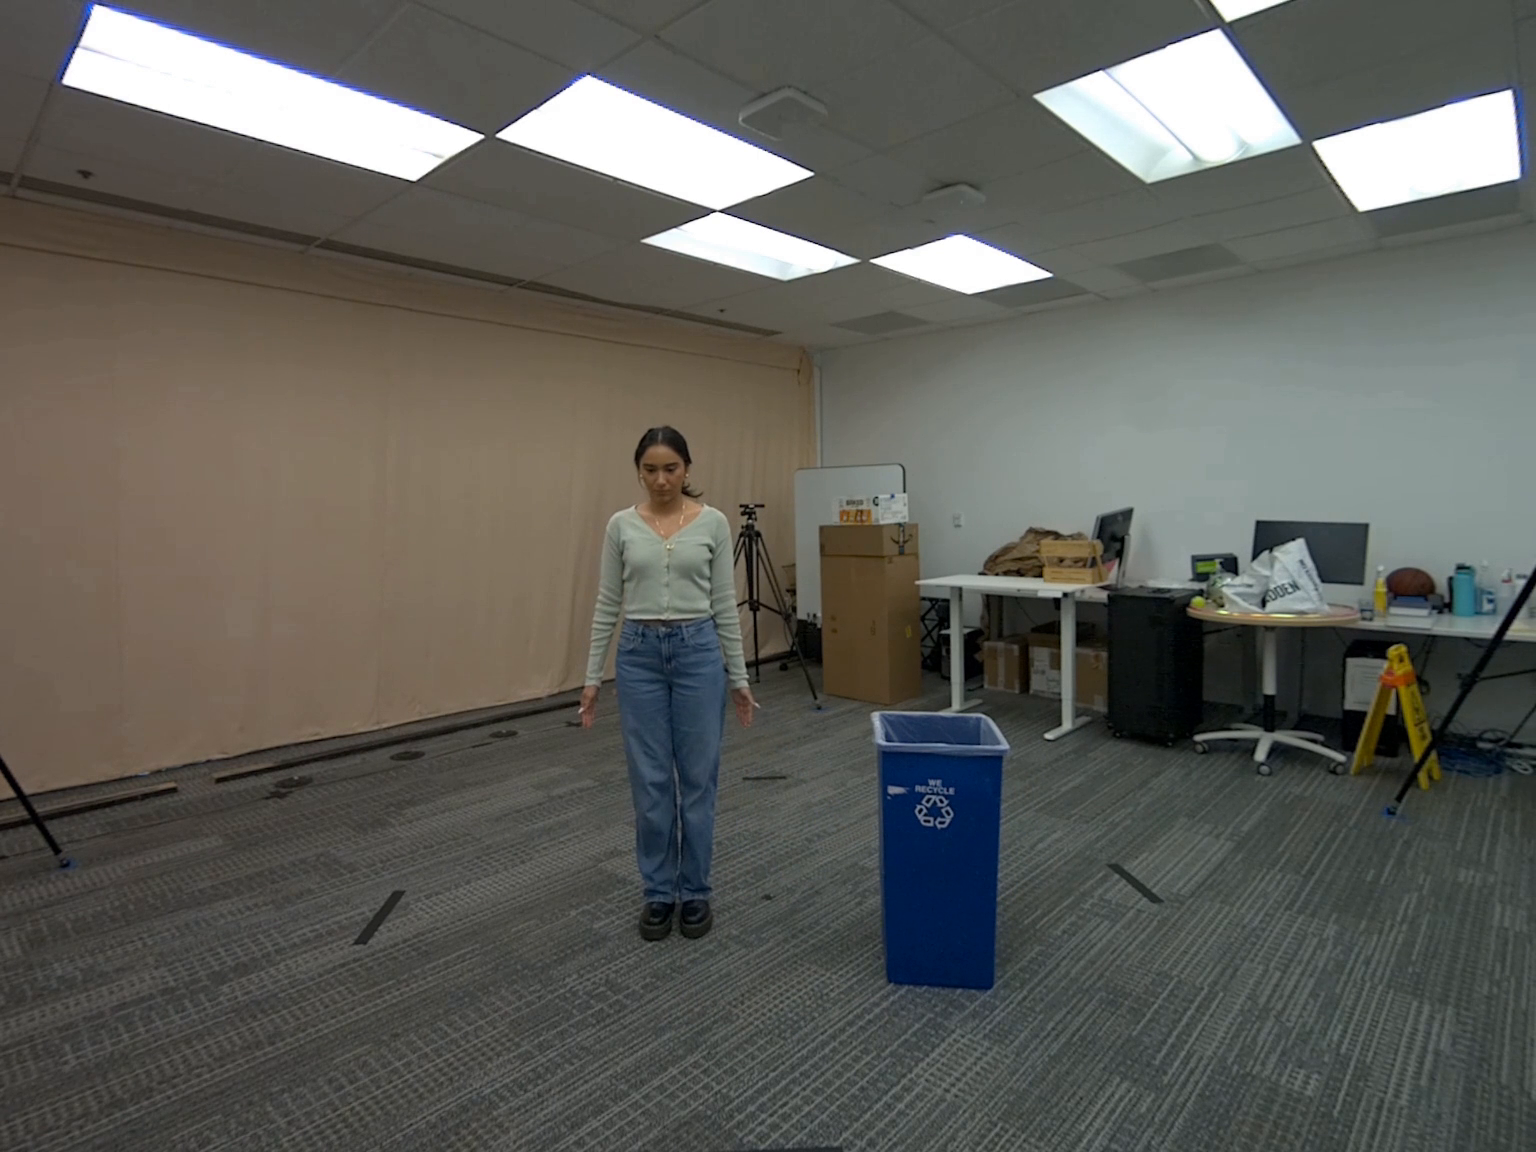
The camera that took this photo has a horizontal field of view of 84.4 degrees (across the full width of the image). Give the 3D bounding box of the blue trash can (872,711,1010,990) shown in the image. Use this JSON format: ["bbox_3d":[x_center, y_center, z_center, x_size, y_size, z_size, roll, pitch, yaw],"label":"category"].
[{"bbox_3d":[0.520,0.815,2.524,0.381,0.712,0.372,0,3,7],"label":"blue trash can"}]
